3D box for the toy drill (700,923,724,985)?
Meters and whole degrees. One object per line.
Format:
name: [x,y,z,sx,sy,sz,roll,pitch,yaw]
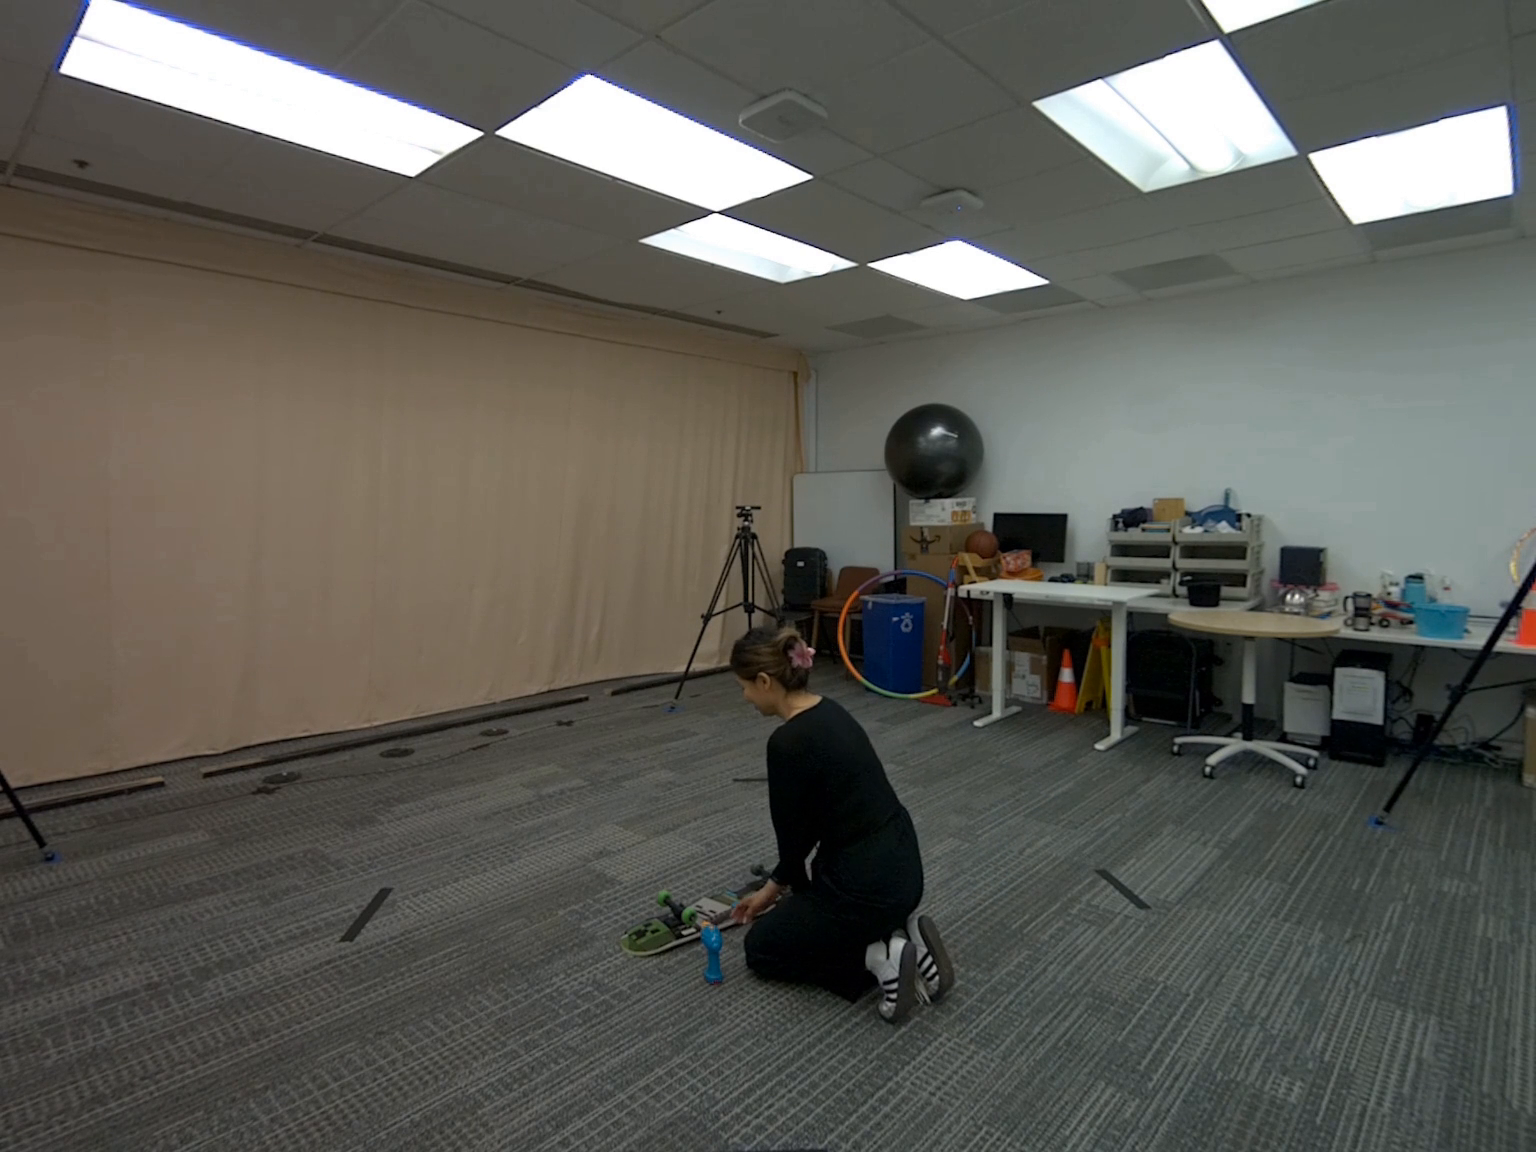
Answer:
toy drill: [-0.166,1.120,2.511,0.060,0.146,0.172,-1,2,-15]
